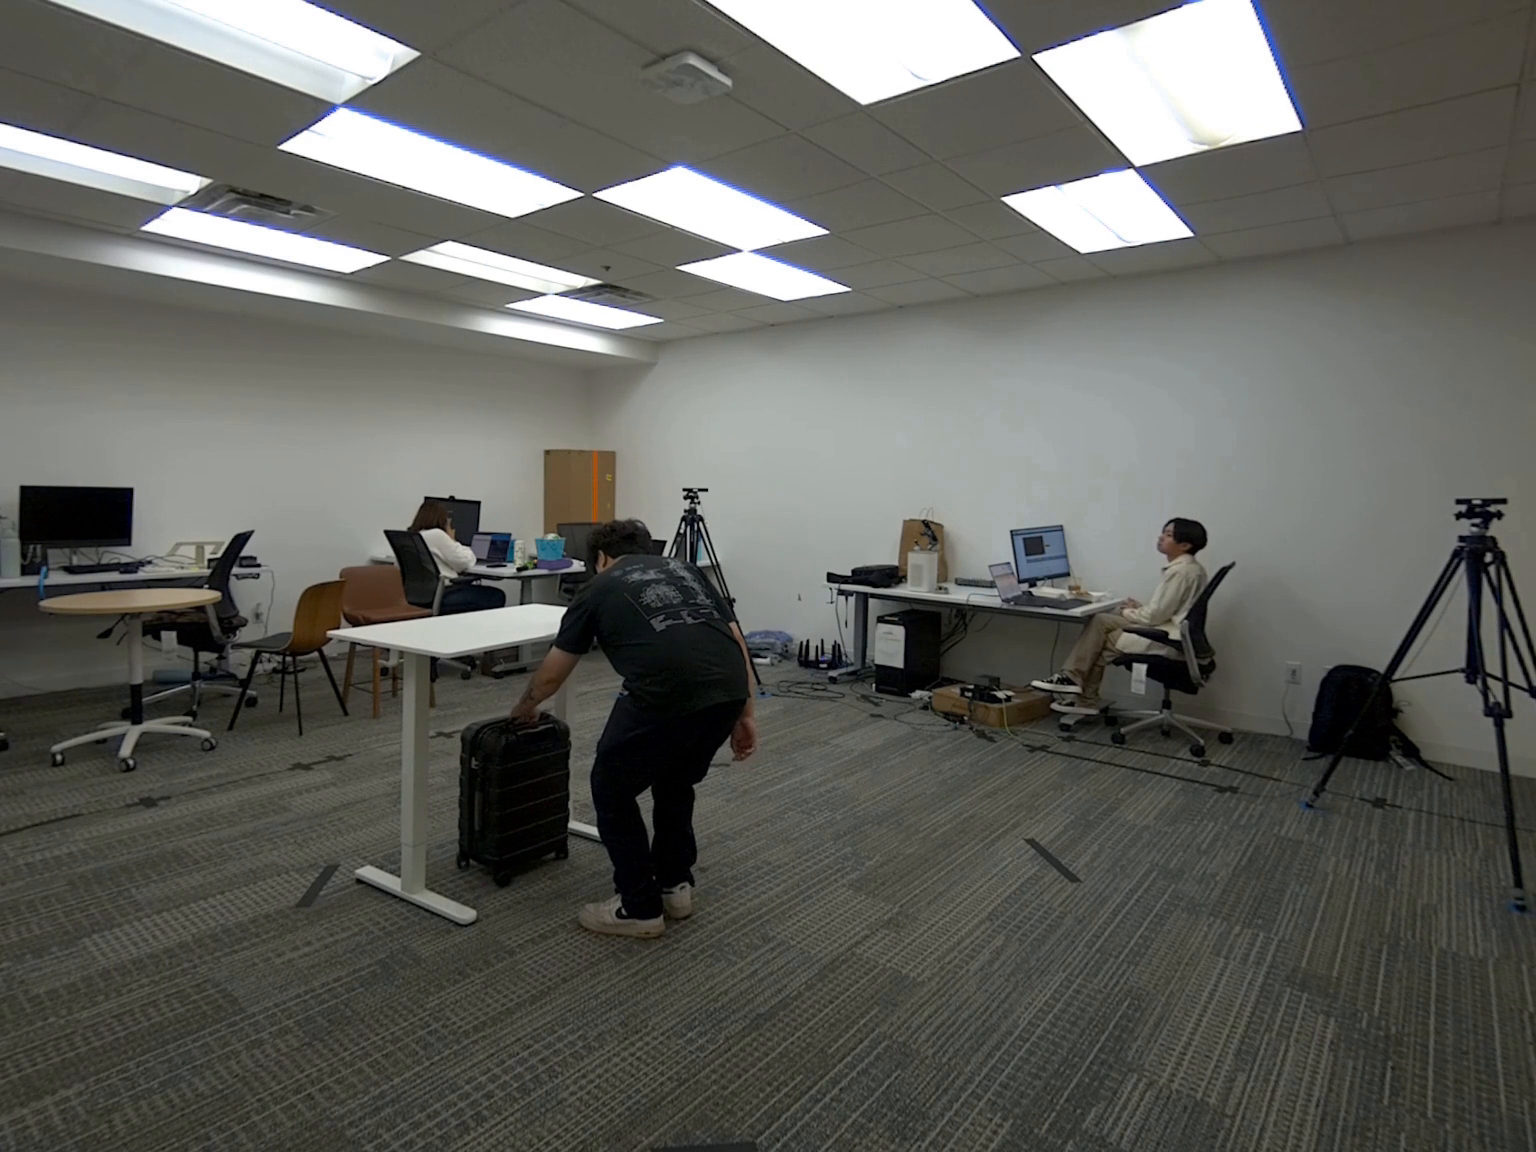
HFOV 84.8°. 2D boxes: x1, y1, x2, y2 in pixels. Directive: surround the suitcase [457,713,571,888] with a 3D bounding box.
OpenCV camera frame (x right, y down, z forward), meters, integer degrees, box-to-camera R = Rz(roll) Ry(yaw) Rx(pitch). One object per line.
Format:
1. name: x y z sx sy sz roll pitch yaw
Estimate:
1. suitcase: -0.935 0.782 3.098 0.257 0.547 0.364 5 6 39
